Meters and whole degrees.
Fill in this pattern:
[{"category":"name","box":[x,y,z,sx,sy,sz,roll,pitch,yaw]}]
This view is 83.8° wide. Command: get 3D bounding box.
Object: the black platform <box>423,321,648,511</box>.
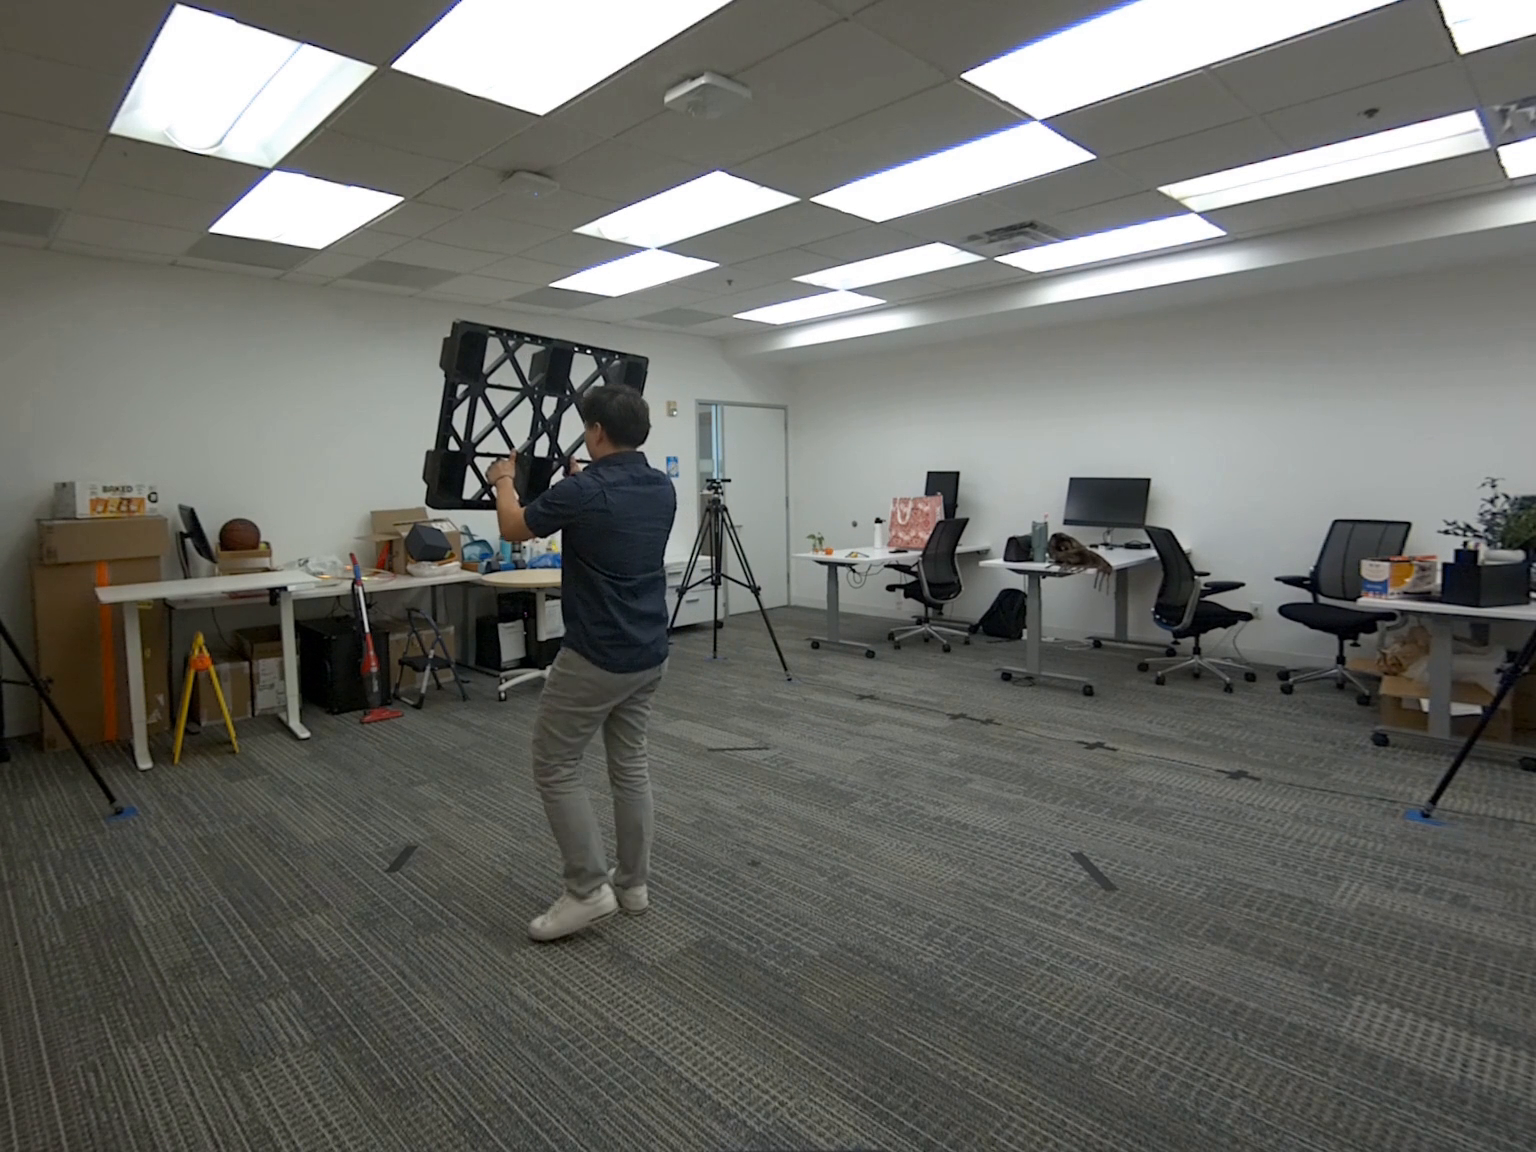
[{"category":"black platform","box":[-0.799,-0.533,2.967,0.148,0.600,0.783,21,15,36]}]
